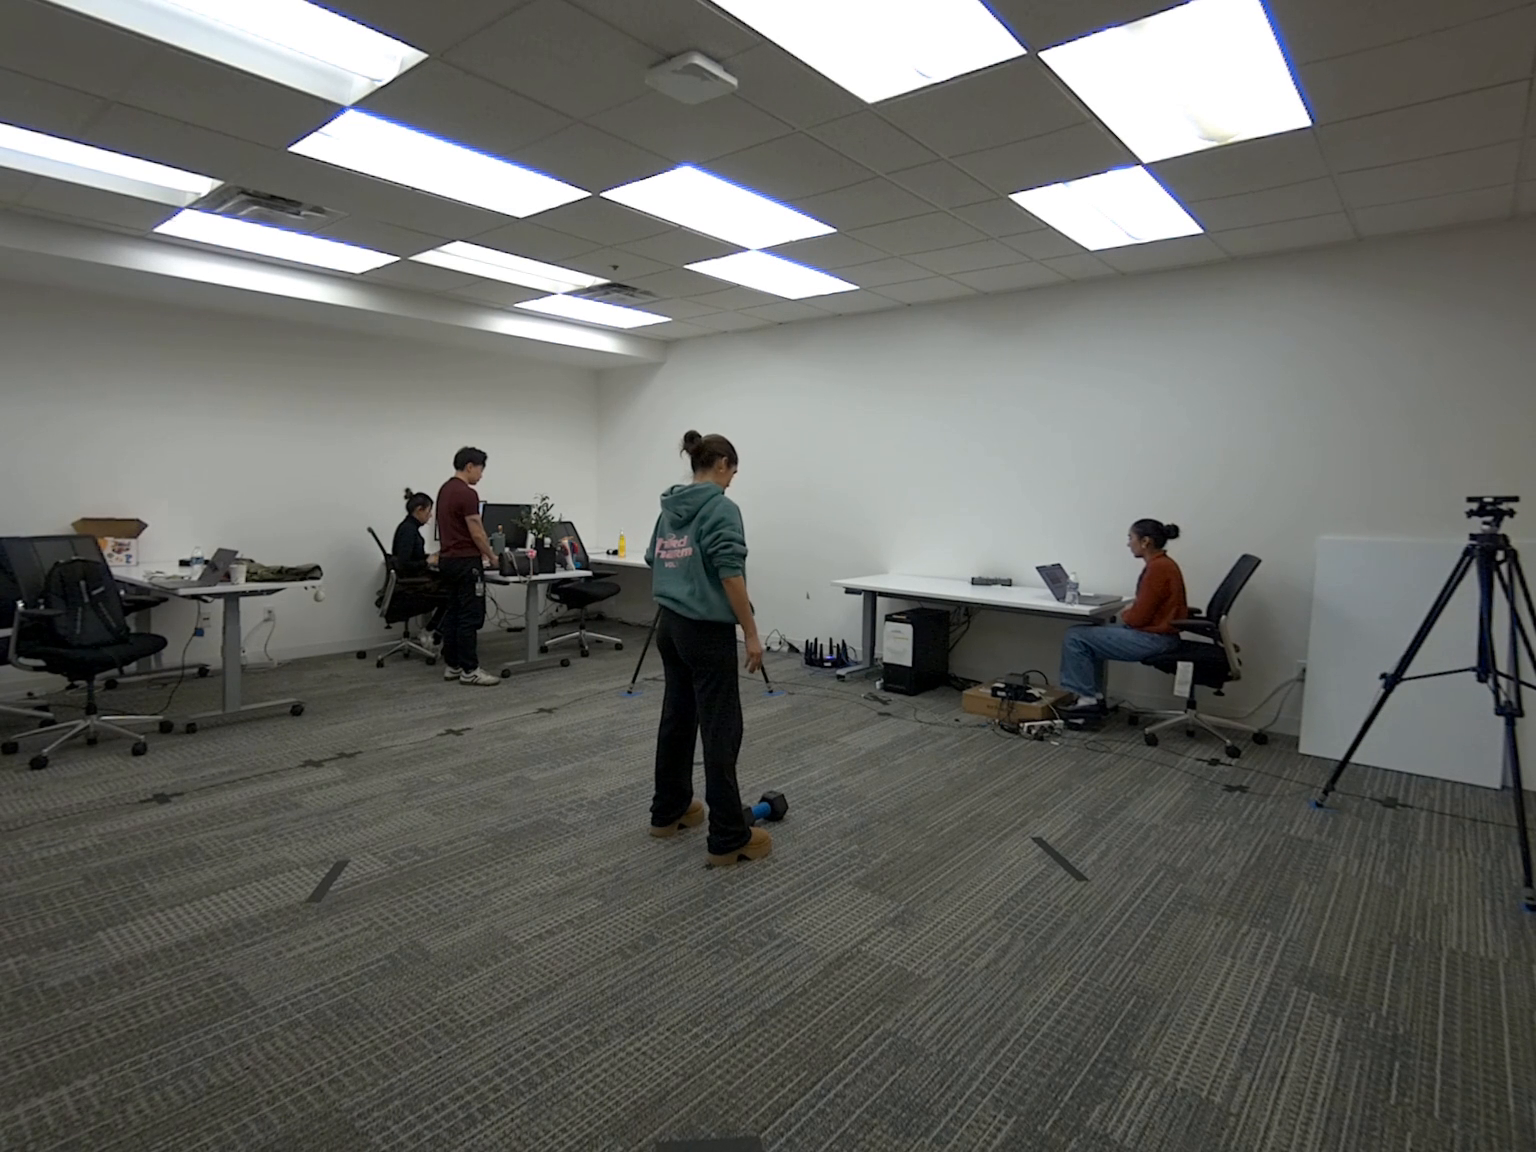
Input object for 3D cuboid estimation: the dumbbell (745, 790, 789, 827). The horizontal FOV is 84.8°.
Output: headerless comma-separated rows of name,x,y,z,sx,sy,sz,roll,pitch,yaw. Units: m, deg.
dumbbell,-0.055,0.977,3.519,0.127,0.108,0.285,5,7,43
